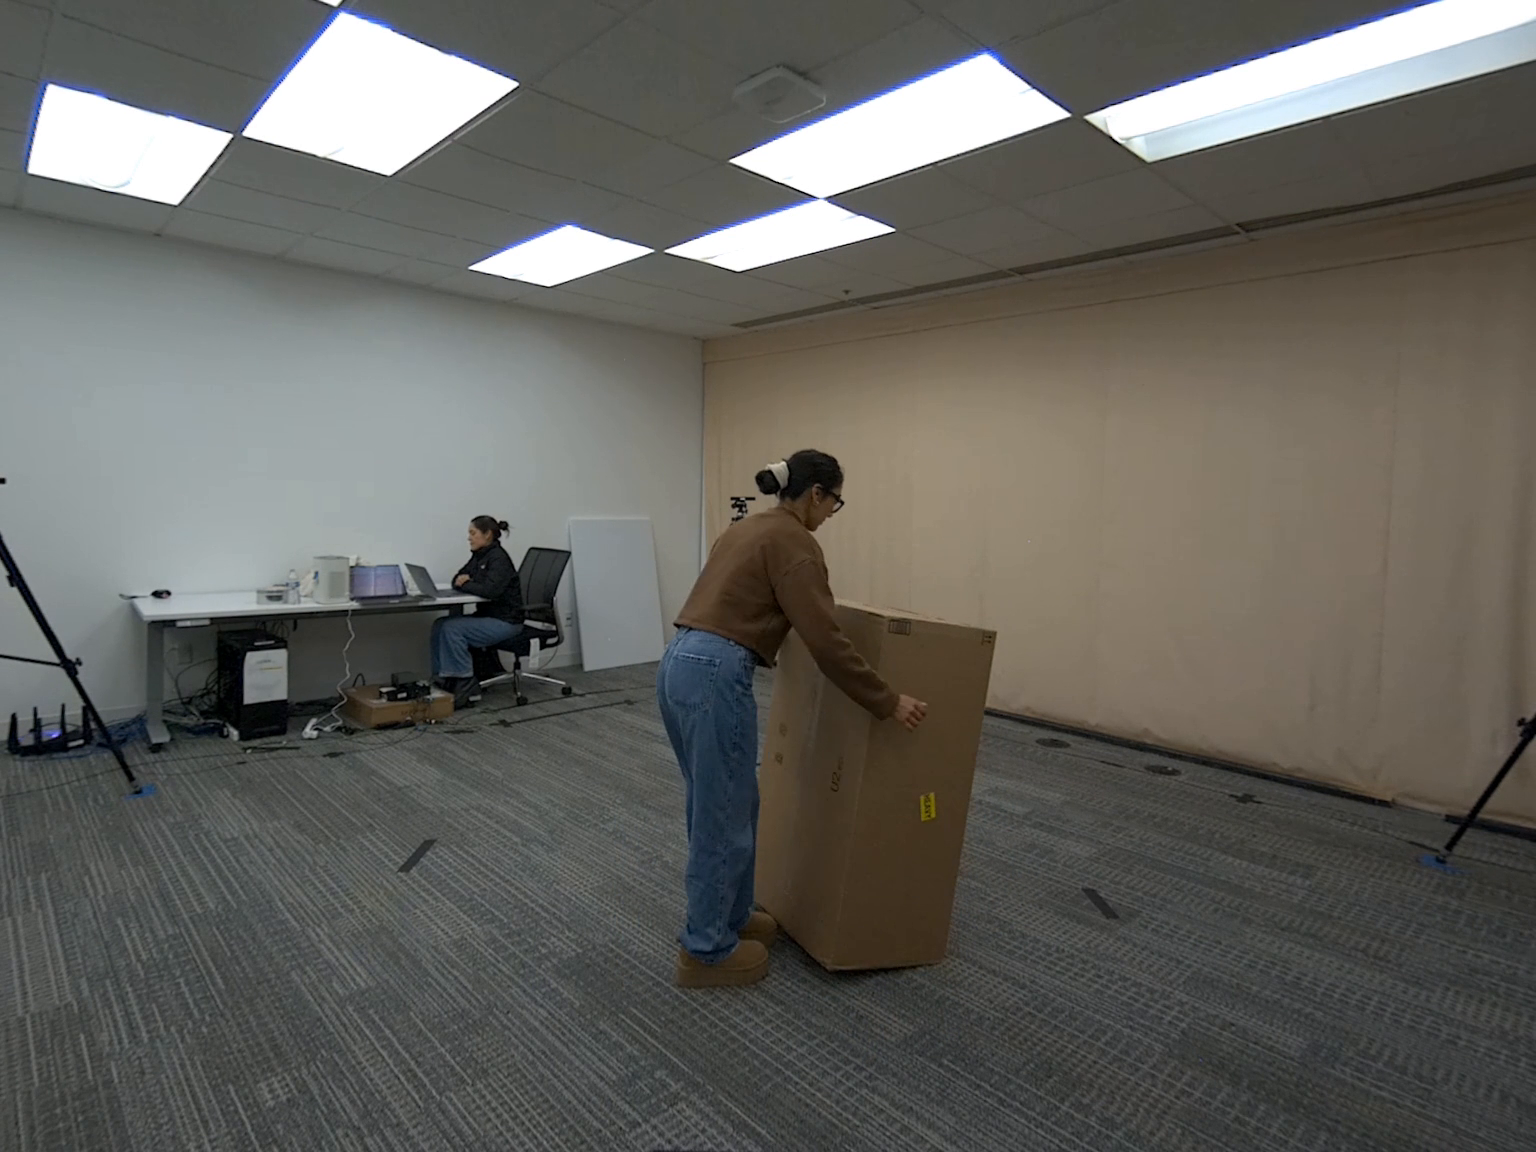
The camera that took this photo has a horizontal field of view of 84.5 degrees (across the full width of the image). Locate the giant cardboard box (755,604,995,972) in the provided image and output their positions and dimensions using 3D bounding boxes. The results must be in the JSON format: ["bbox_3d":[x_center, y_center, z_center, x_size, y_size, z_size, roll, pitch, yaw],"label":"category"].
[{"bbox_3d":[0.302,0.620,2.731,0.417,1.026,0.590,9,-1,-28],"label":"giant cardboard box"}]
